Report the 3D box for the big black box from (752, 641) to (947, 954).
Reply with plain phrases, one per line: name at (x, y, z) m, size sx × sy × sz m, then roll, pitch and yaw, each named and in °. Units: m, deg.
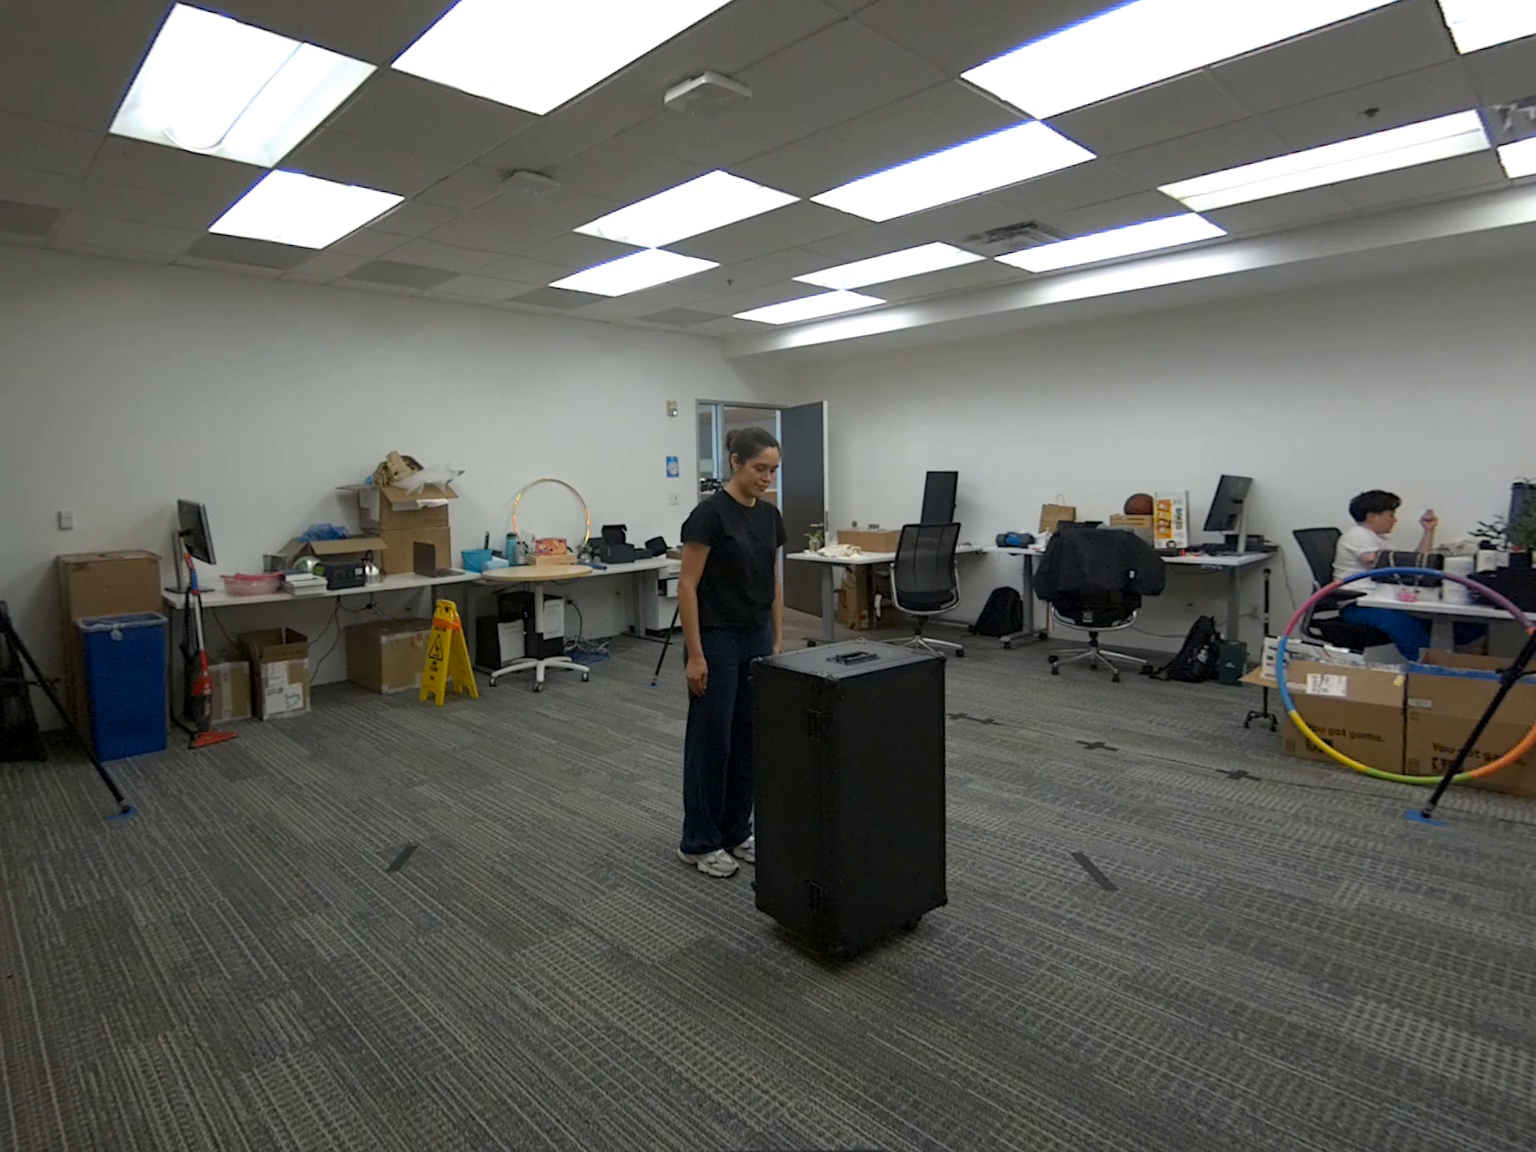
big black box at (0.247, 0.607, 2.640) m, size 0.508 × 0.858 × 0.408 m, roll -5°, pitch 6°, yaw -38°
